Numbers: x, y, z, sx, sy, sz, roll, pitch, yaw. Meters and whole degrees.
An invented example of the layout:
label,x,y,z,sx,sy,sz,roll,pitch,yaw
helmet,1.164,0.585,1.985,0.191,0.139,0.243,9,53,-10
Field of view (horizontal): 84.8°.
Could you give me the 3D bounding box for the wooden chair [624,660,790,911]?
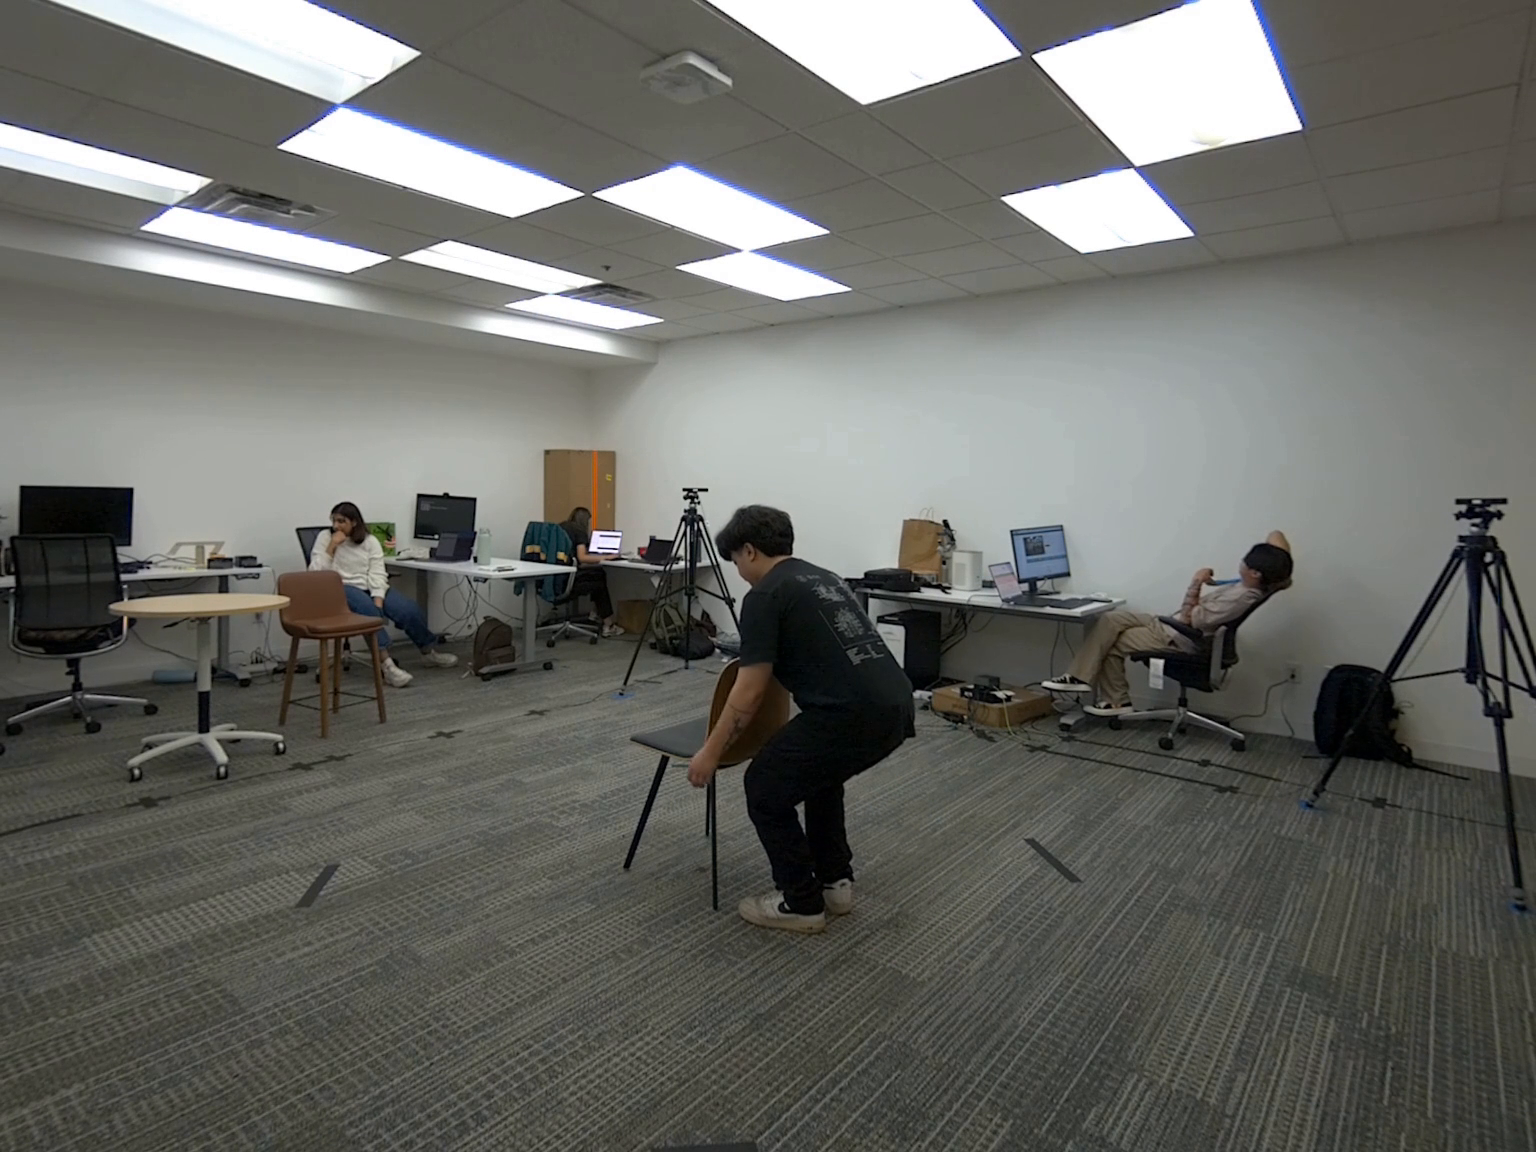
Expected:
label,x,y,z,sx,sy,sz,roll,pitch,yaw
wooden chair,-0.217,0.644,3.095,0.542,0.872,0.464,10,8,39
